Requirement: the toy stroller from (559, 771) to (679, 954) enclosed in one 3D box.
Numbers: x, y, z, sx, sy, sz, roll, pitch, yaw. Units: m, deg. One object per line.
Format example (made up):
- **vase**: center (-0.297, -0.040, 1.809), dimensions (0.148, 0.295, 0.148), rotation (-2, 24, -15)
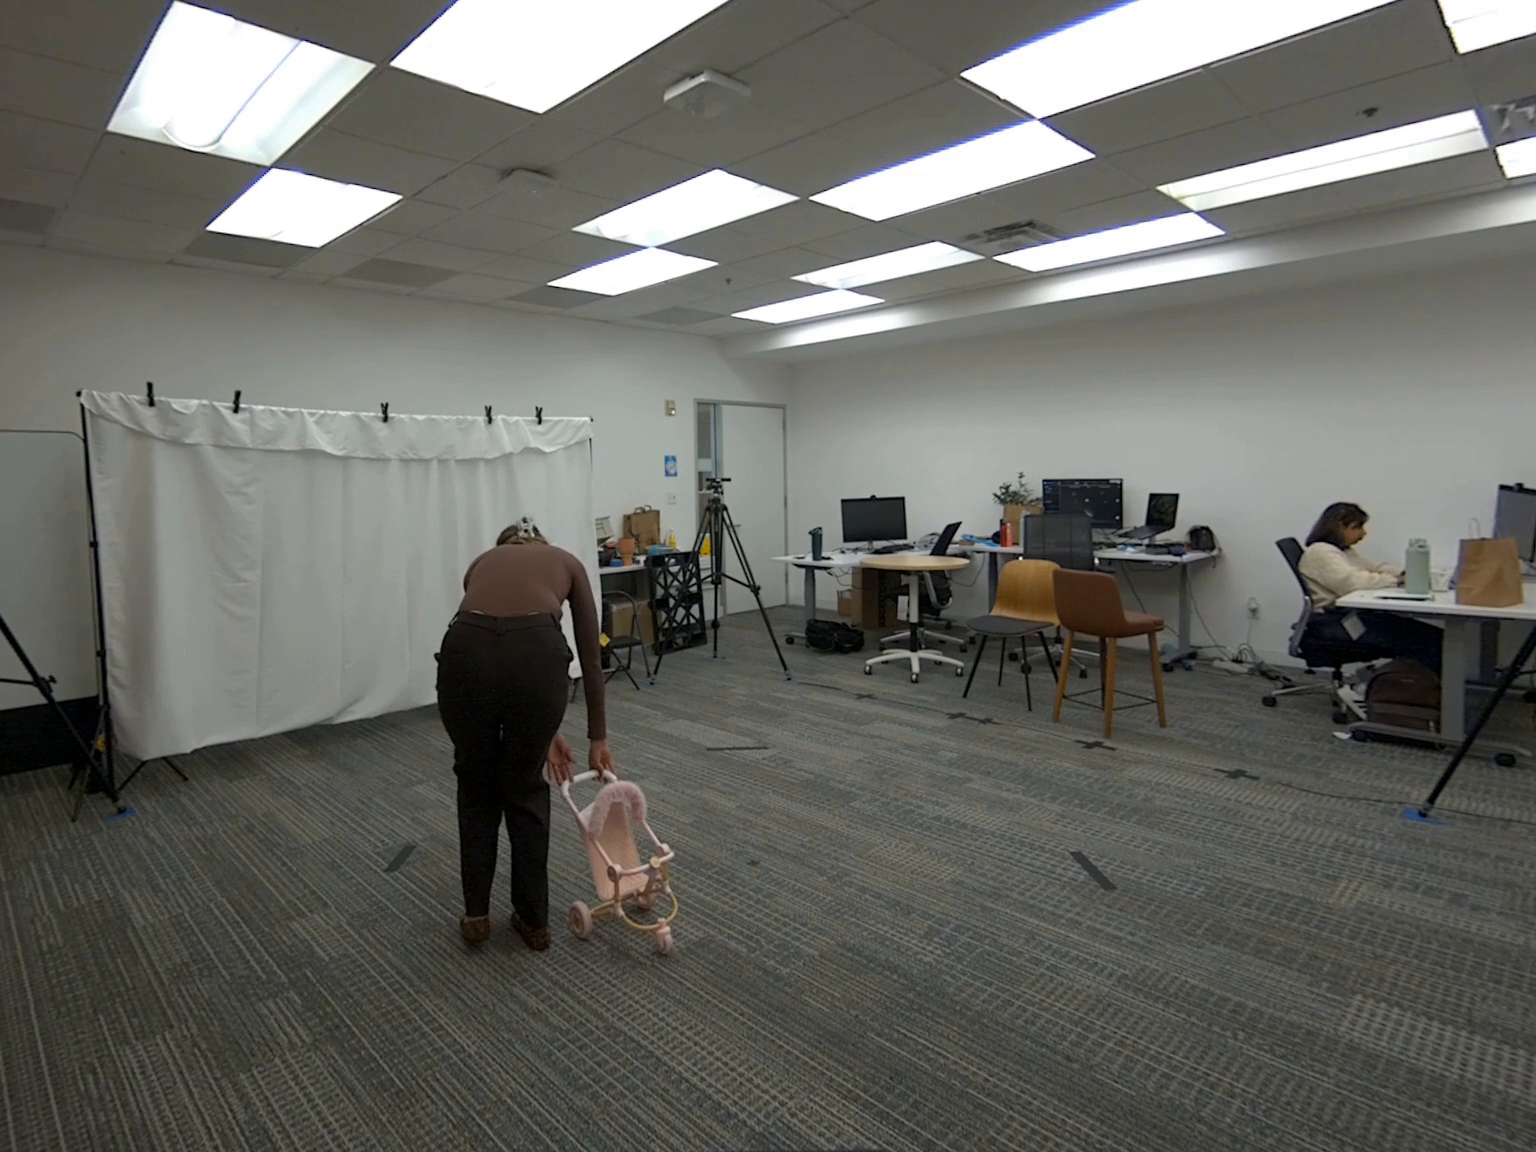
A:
- **toy stroller**: center (-0.444, 0.876, 2.648), dimensions (0.274, 0.539, 0.347), rotation (-6, -9, -42)
